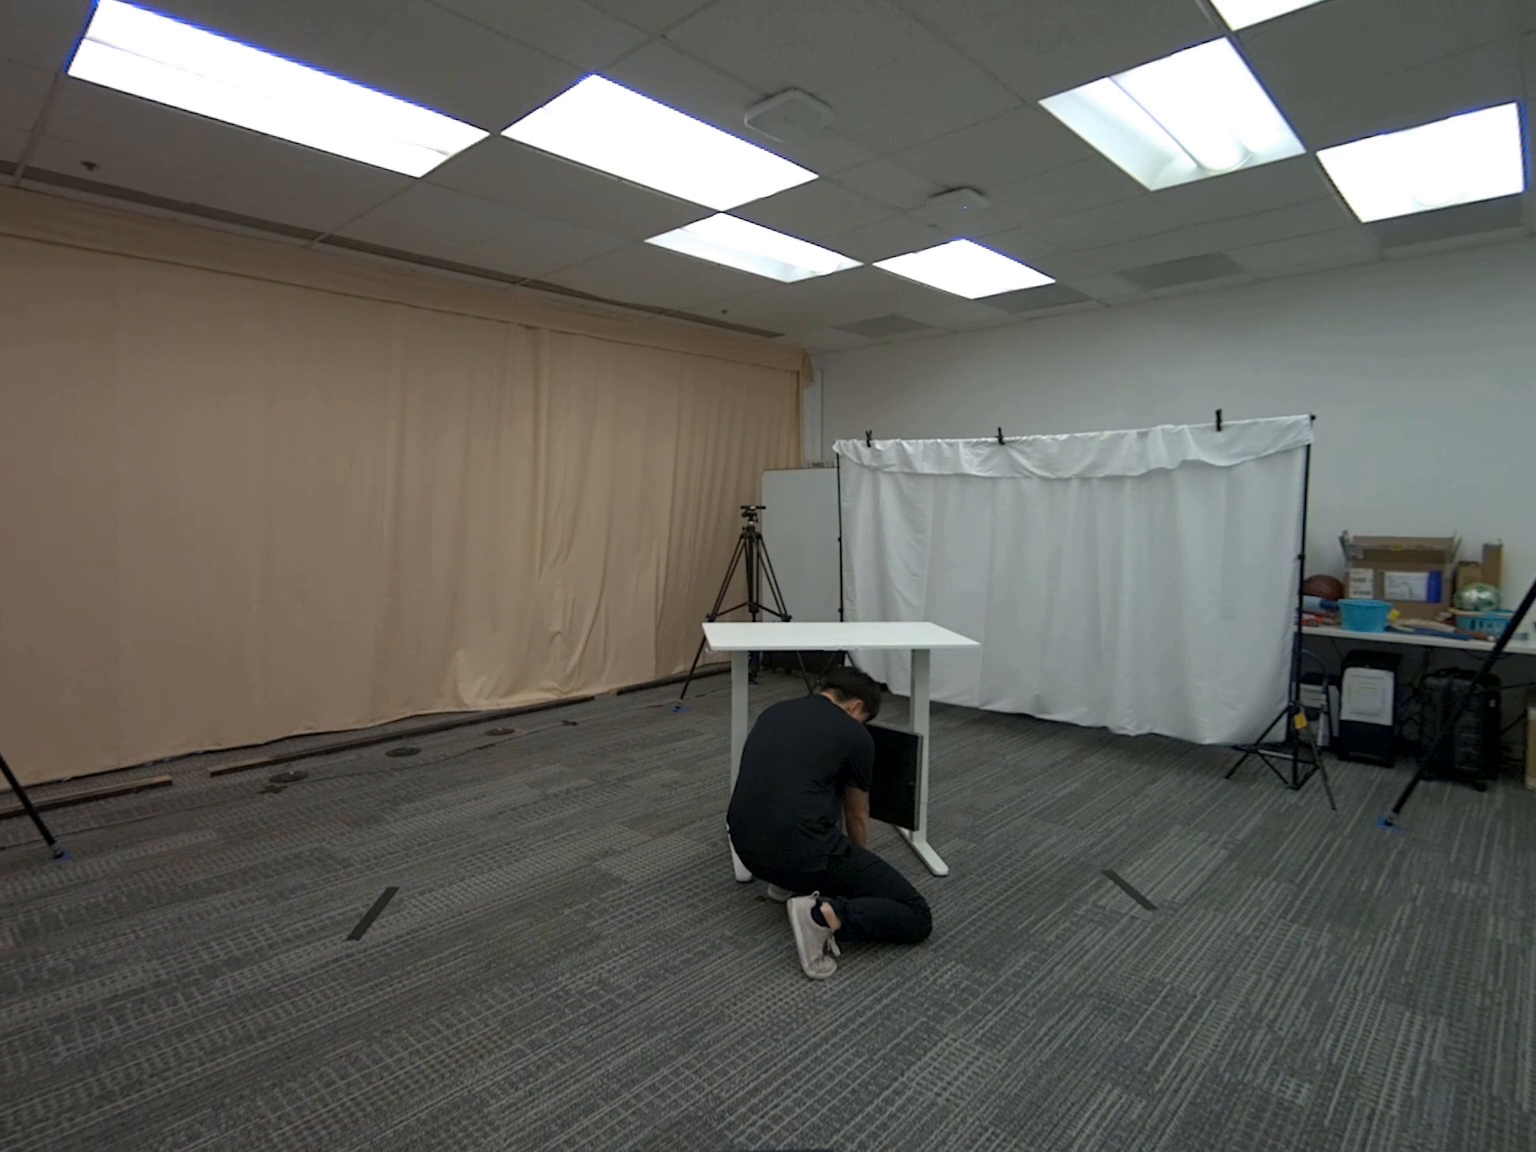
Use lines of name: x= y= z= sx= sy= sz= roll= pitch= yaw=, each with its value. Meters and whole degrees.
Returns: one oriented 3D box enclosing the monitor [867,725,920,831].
monitor: x=0.337 y=0.836 z=3.297 sx=0.557 sy=0.524 sz=0.180 roll=4 pitch=-10 yaw=46
